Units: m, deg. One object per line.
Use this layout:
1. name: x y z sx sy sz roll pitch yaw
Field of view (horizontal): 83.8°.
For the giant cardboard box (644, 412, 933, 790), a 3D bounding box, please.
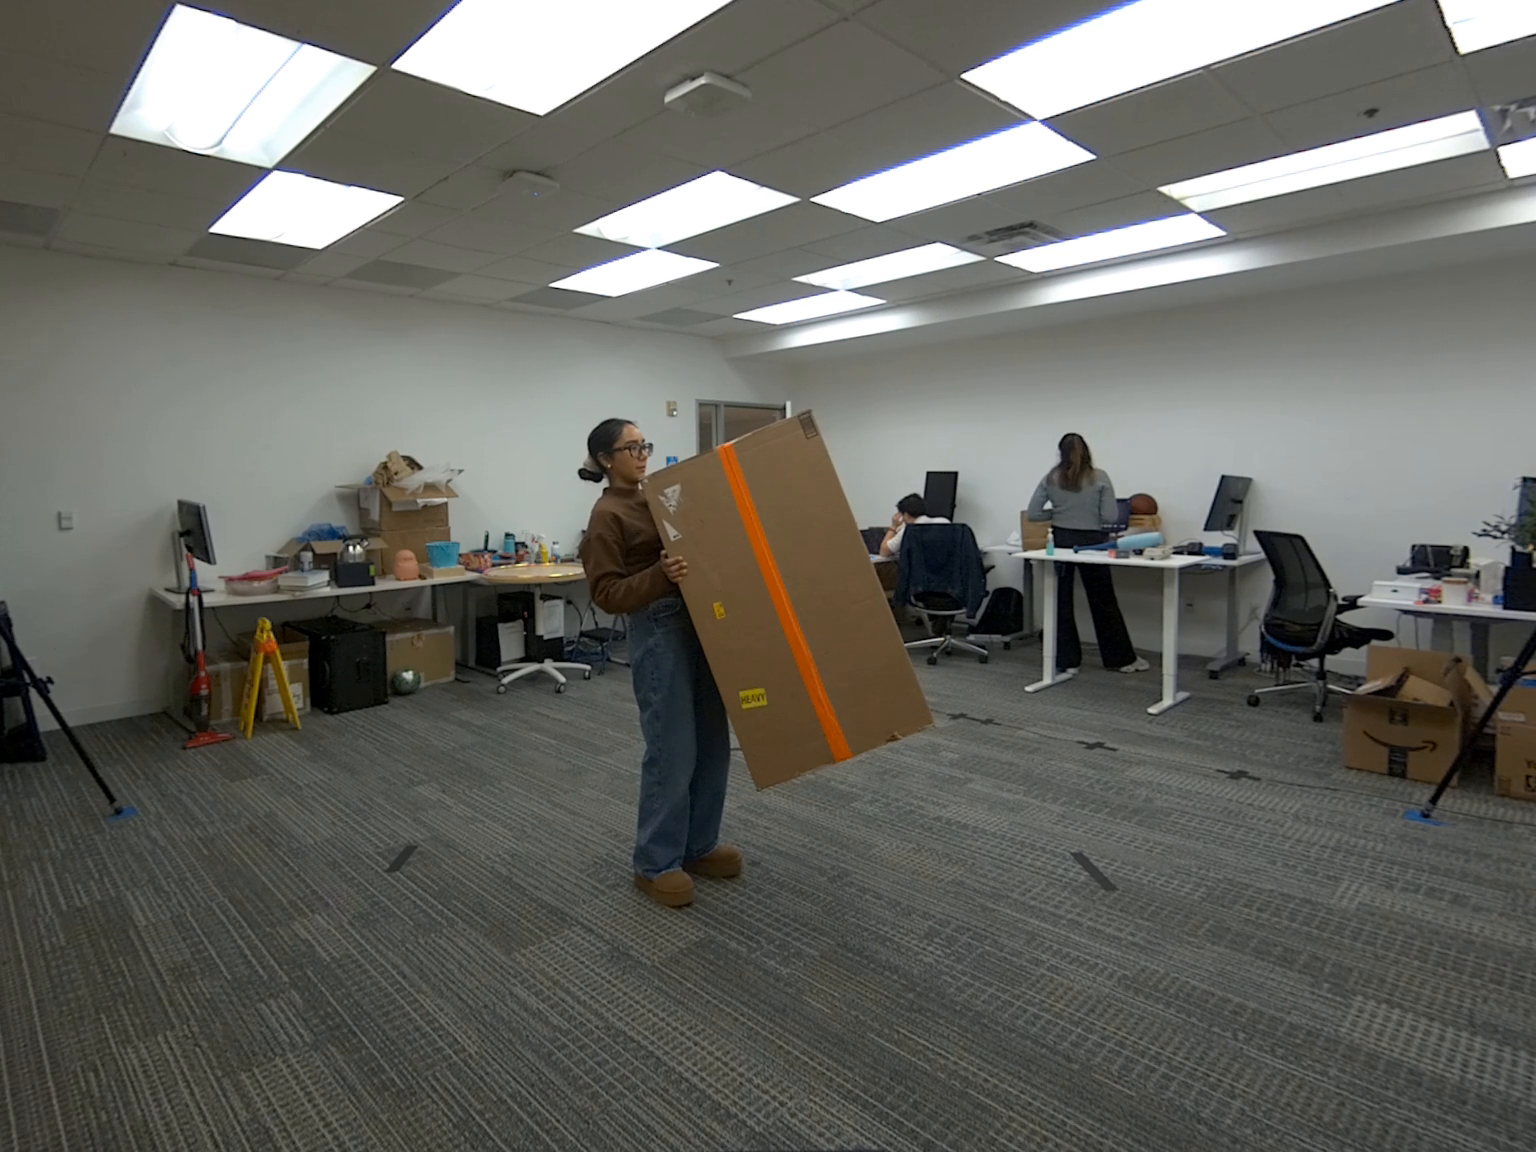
1. giant cardboard box: 0.059 0.068 2.787 0.579 1.031 0.423 -21 -3 4
